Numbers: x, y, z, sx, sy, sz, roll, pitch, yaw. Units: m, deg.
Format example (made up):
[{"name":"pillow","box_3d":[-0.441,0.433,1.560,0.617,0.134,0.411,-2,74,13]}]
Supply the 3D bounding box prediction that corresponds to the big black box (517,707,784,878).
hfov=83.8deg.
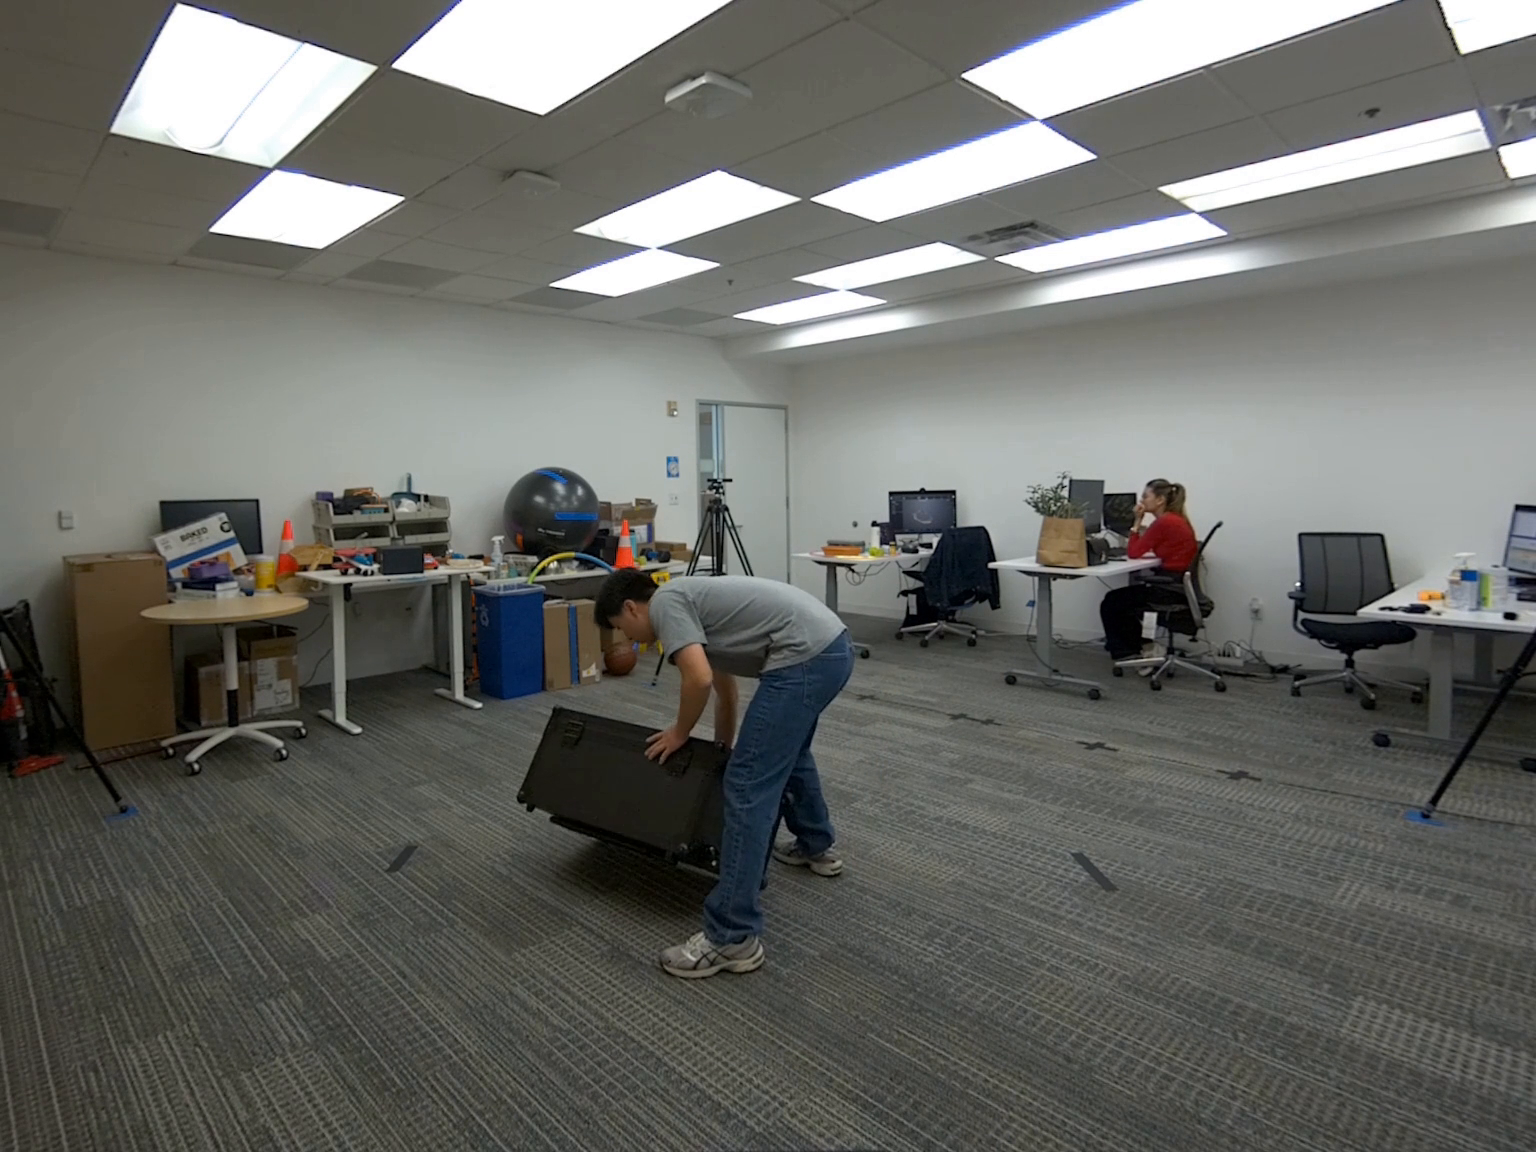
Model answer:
[{"name":"big black box","box_3d":[-0.387,0.782,2.995,0.887,0.400,0.501,3,-27,36]}]
